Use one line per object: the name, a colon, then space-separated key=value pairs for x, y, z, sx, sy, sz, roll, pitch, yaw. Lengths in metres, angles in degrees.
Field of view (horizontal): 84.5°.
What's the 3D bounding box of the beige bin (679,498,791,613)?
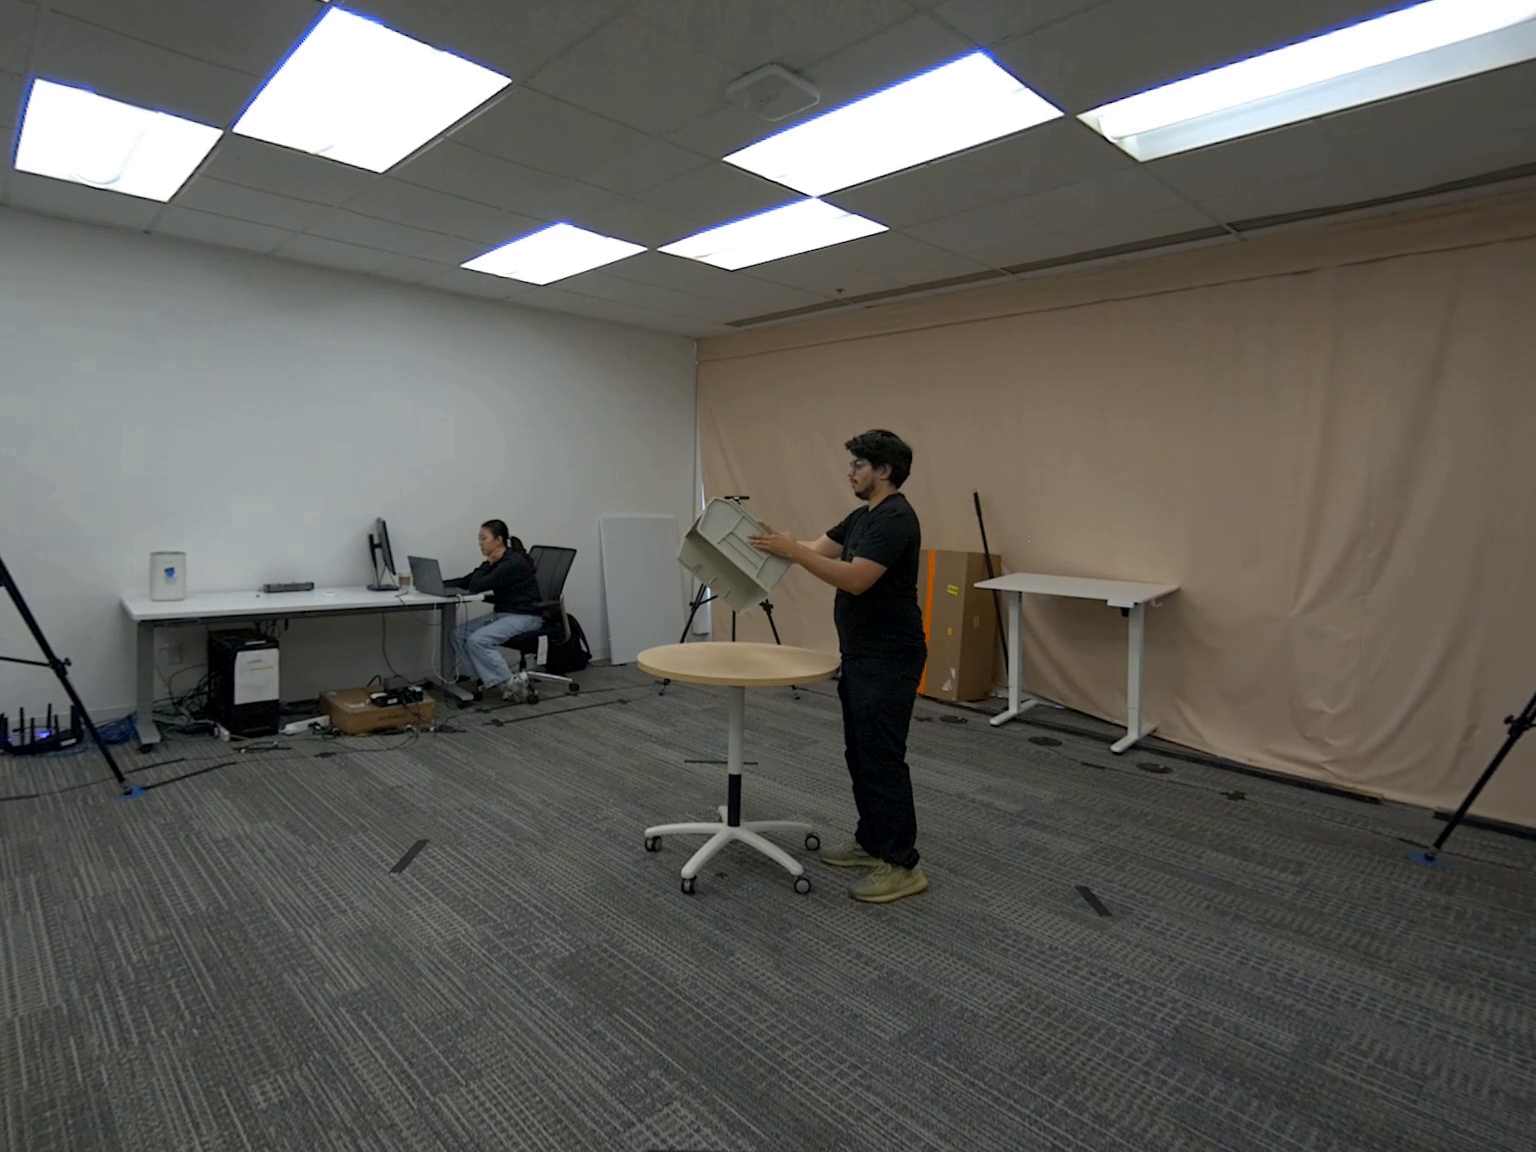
beige bin: x=-0.137 y=-0.074 z=3.138 sx=0.376 sy=0.189 sz=0.423 roll=40 pitch=-20 yaw=-3
